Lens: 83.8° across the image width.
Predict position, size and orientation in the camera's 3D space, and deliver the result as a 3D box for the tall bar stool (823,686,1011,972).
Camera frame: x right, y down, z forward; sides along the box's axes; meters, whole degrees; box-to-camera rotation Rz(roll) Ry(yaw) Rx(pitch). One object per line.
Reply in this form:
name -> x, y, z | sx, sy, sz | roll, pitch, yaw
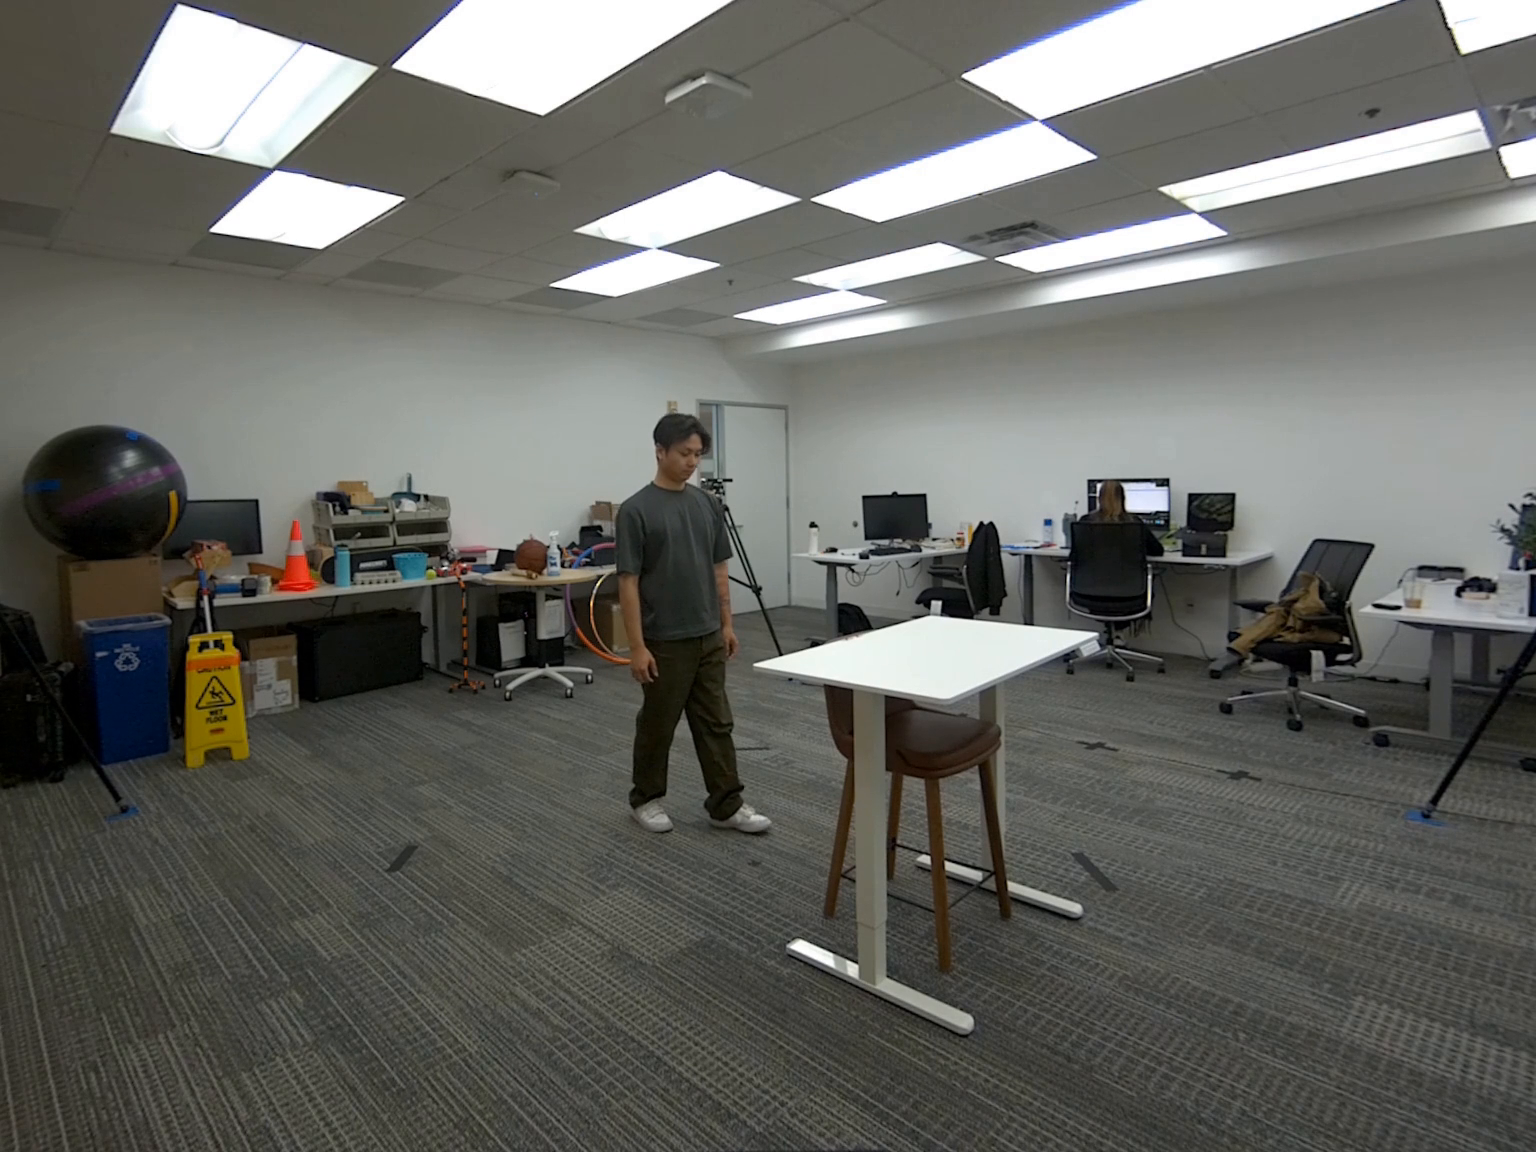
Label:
tall bar stool -> 0.458, 0.651, 2.679 | 0.481, 0.888, 0.444 | 0, 4, 42
